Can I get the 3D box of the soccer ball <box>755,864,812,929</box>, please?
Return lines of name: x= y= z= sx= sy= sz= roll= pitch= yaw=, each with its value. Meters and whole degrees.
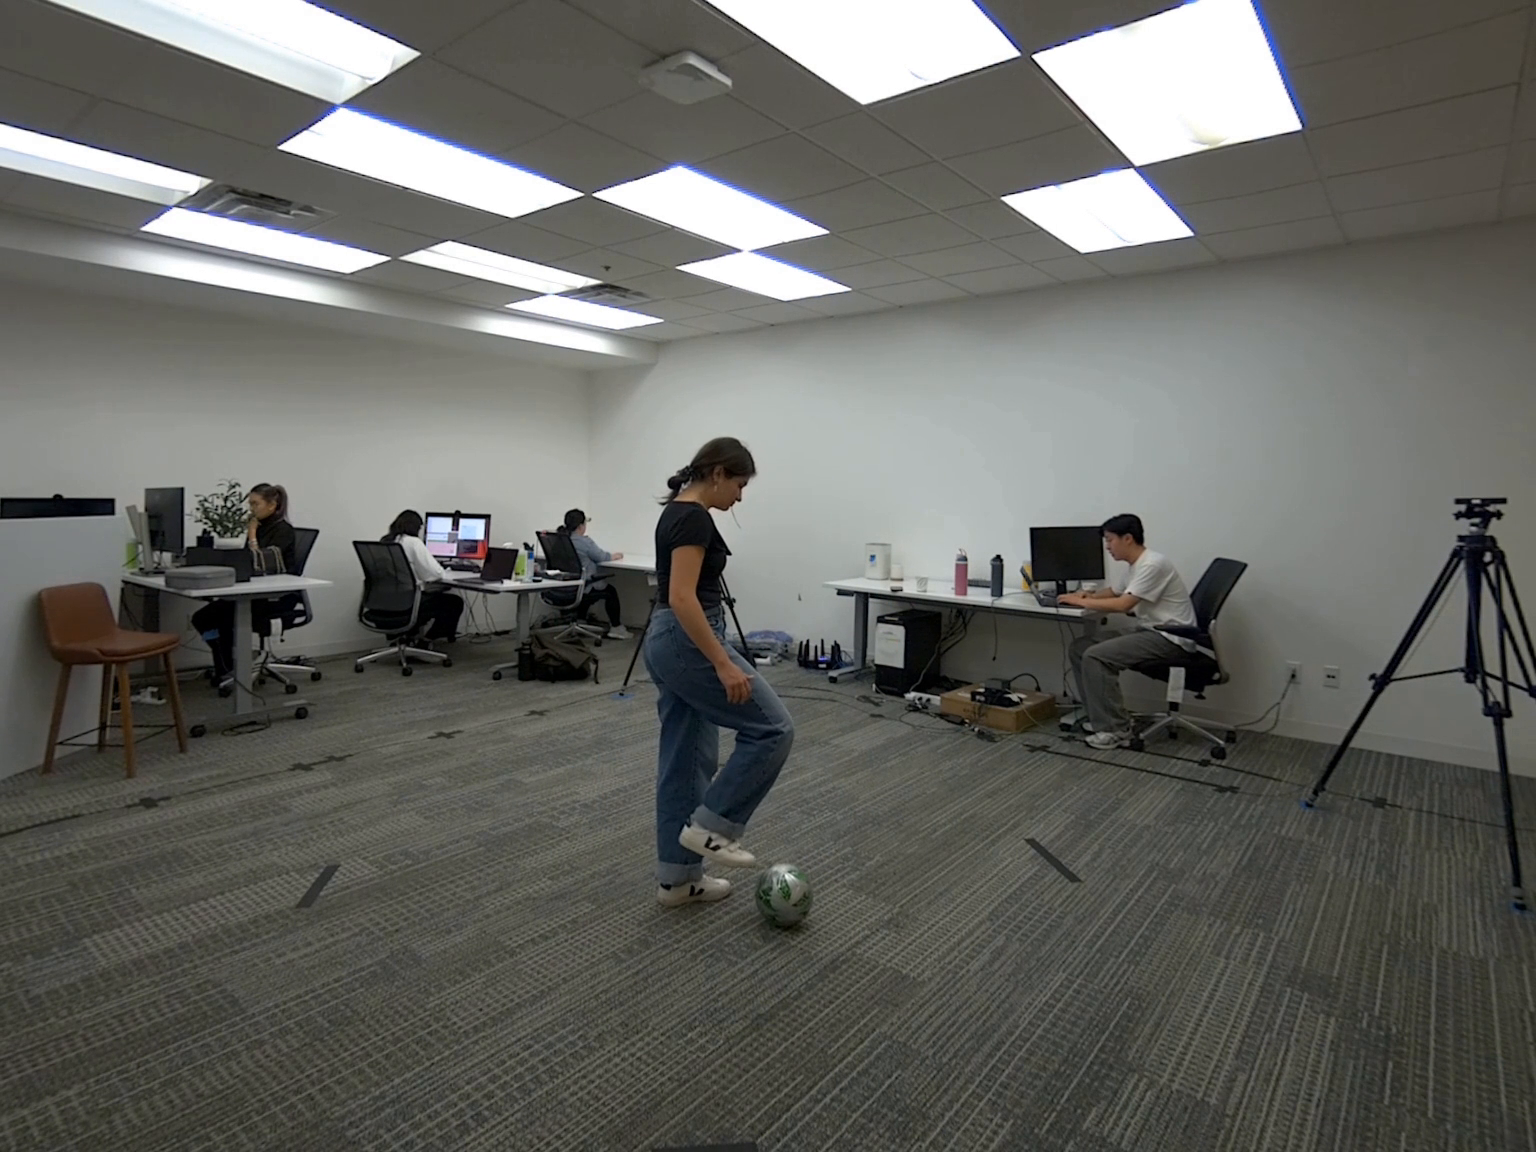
soccer ball: x=0.056 y=1.015 z=2.730 sx=0.187 sy=0.187 sz=0.188 roll=1 pitch=4 yaw=-2
